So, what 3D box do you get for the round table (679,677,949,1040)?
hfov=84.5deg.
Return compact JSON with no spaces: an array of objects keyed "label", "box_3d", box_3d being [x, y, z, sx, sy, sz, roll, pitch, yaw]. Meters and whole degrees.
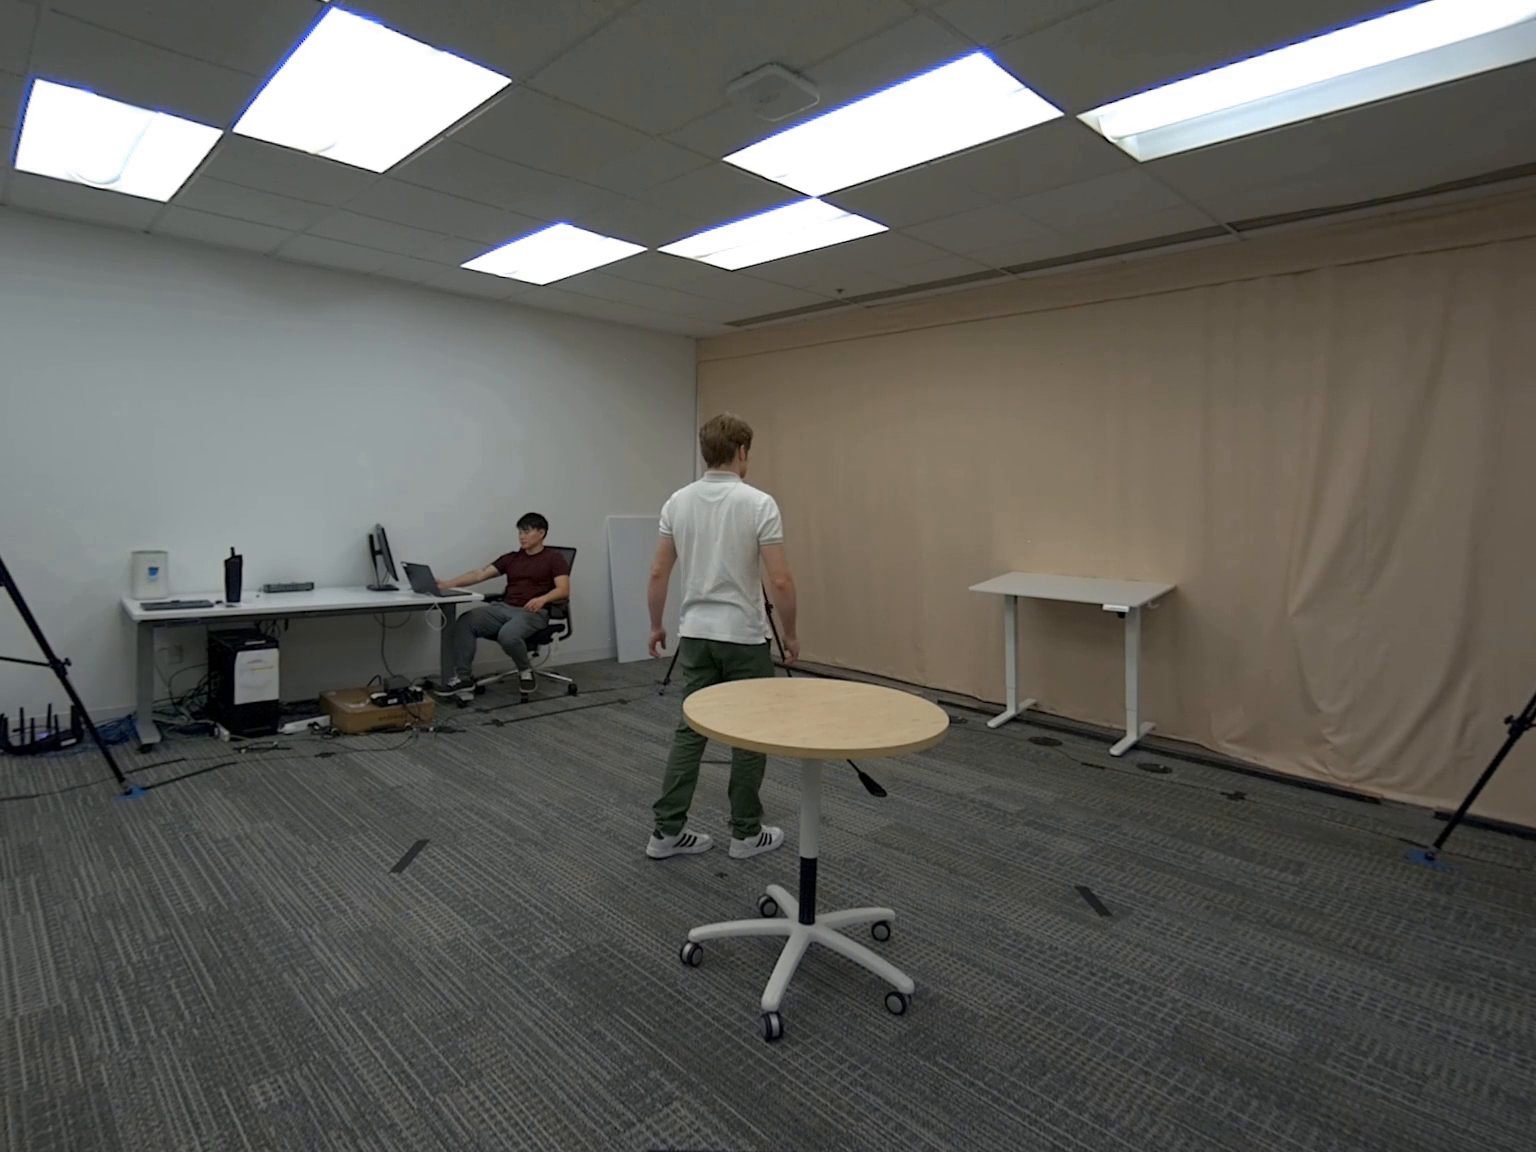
[{"label":"round table","box_3d":[0.122,0.779,2.480,0.763,0.791,0.767,2,5,-2]}]
